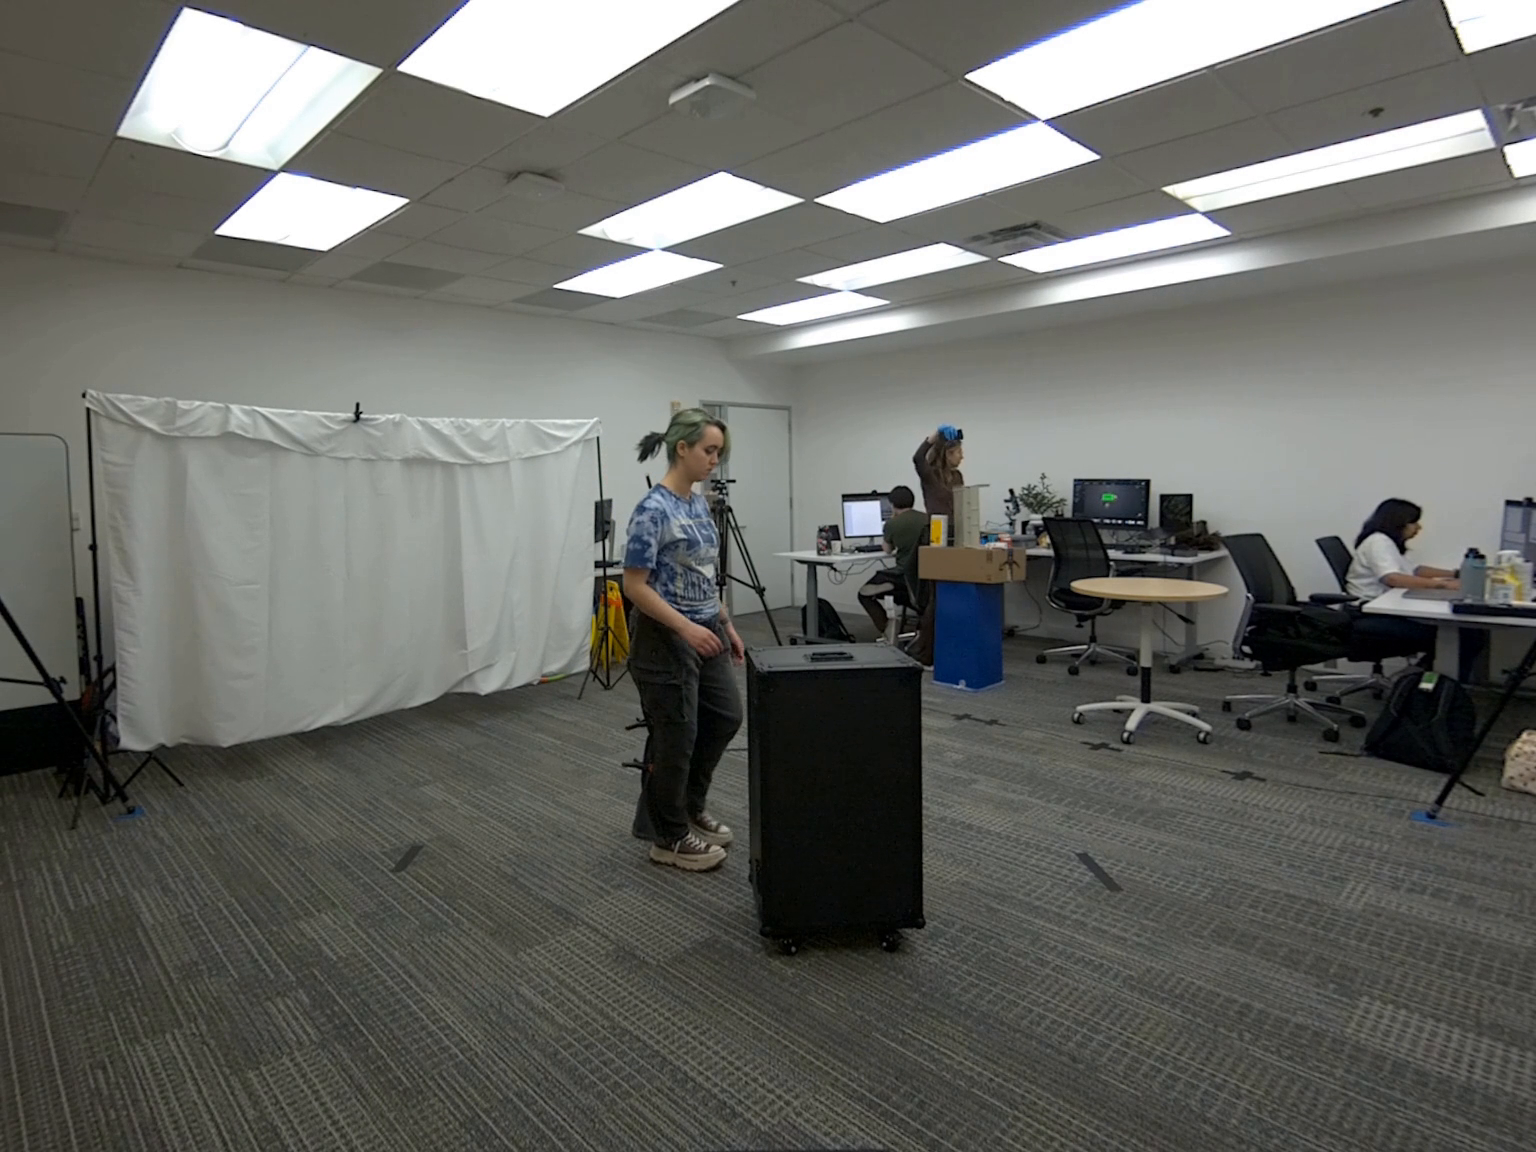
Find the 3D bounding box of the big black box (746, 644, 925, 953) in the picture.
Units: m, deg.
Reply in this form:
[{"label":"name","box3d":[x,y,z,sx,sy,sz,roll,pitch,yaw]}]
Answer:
[{"label":"big black box","box3d":[0.193,0.672,2.651,0.519,0.859,0.399,-2,3,-4]}]
